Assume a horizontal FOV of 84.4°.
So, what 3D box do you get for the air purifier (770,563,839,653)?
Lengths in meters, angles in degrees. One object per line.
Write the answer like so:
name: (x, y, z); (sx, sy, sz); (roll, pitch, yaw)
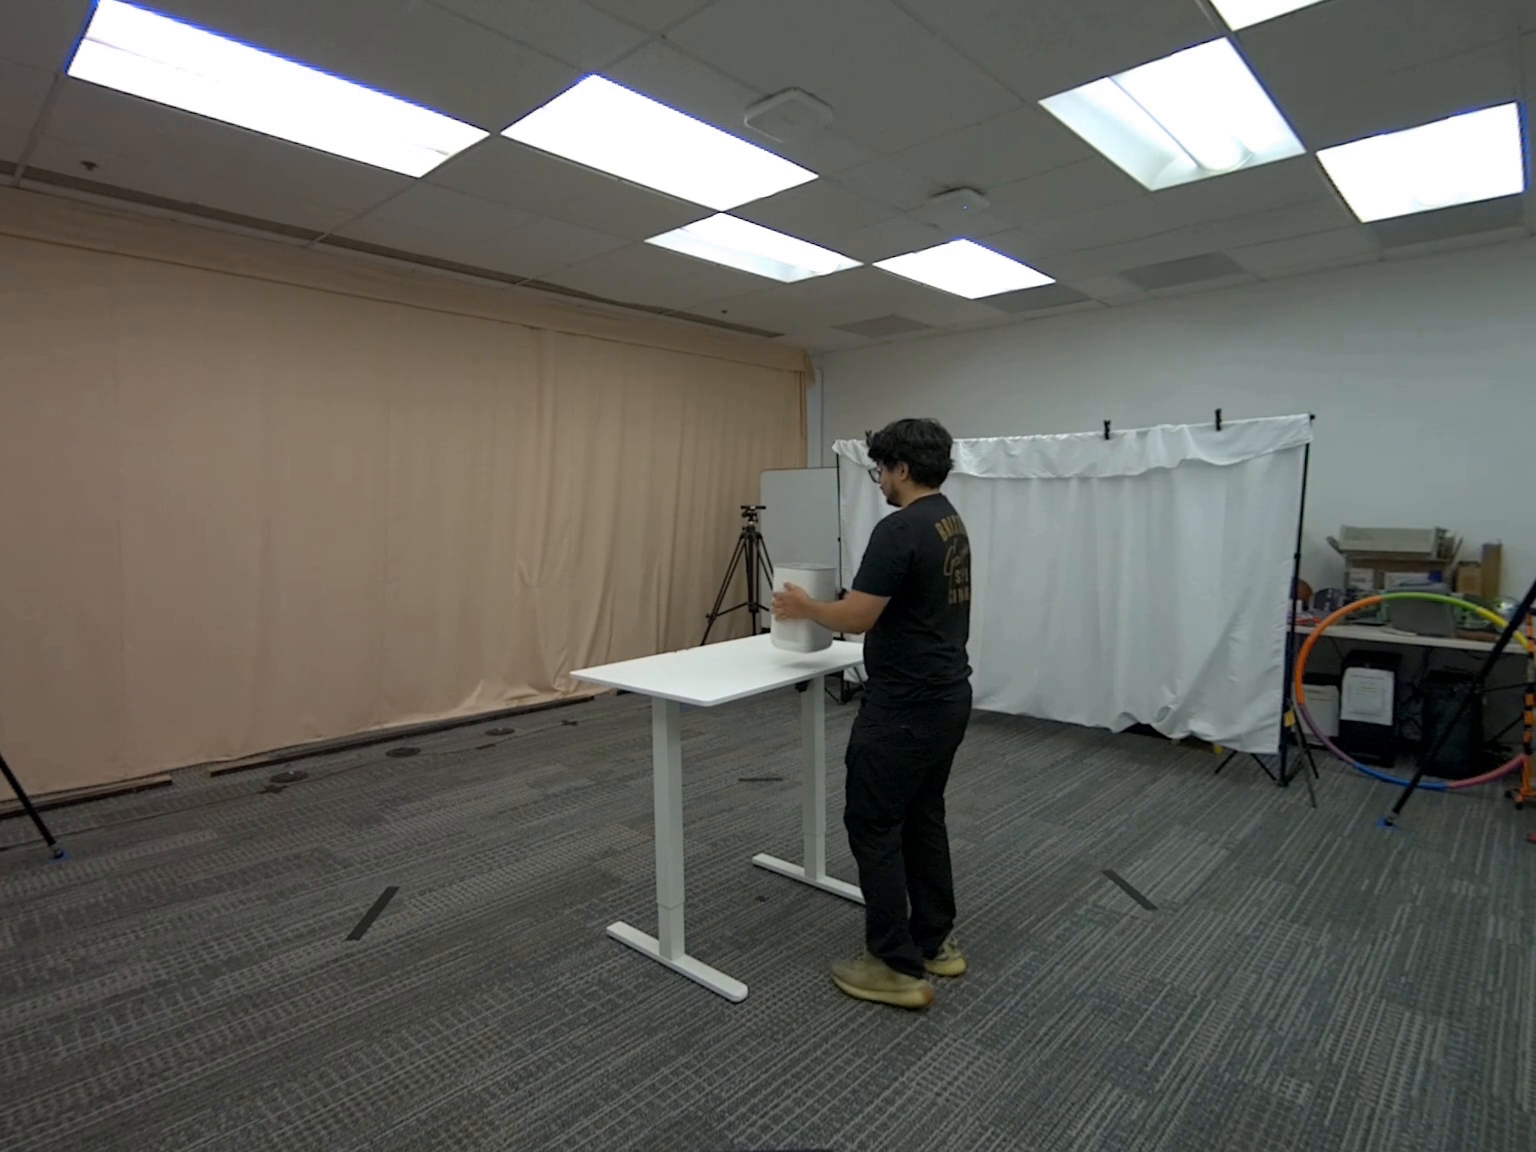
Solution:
air purifier: (0.117, 0.107, 2.646); (0.177, 0.264, 0.166); (7, 8, 35)
